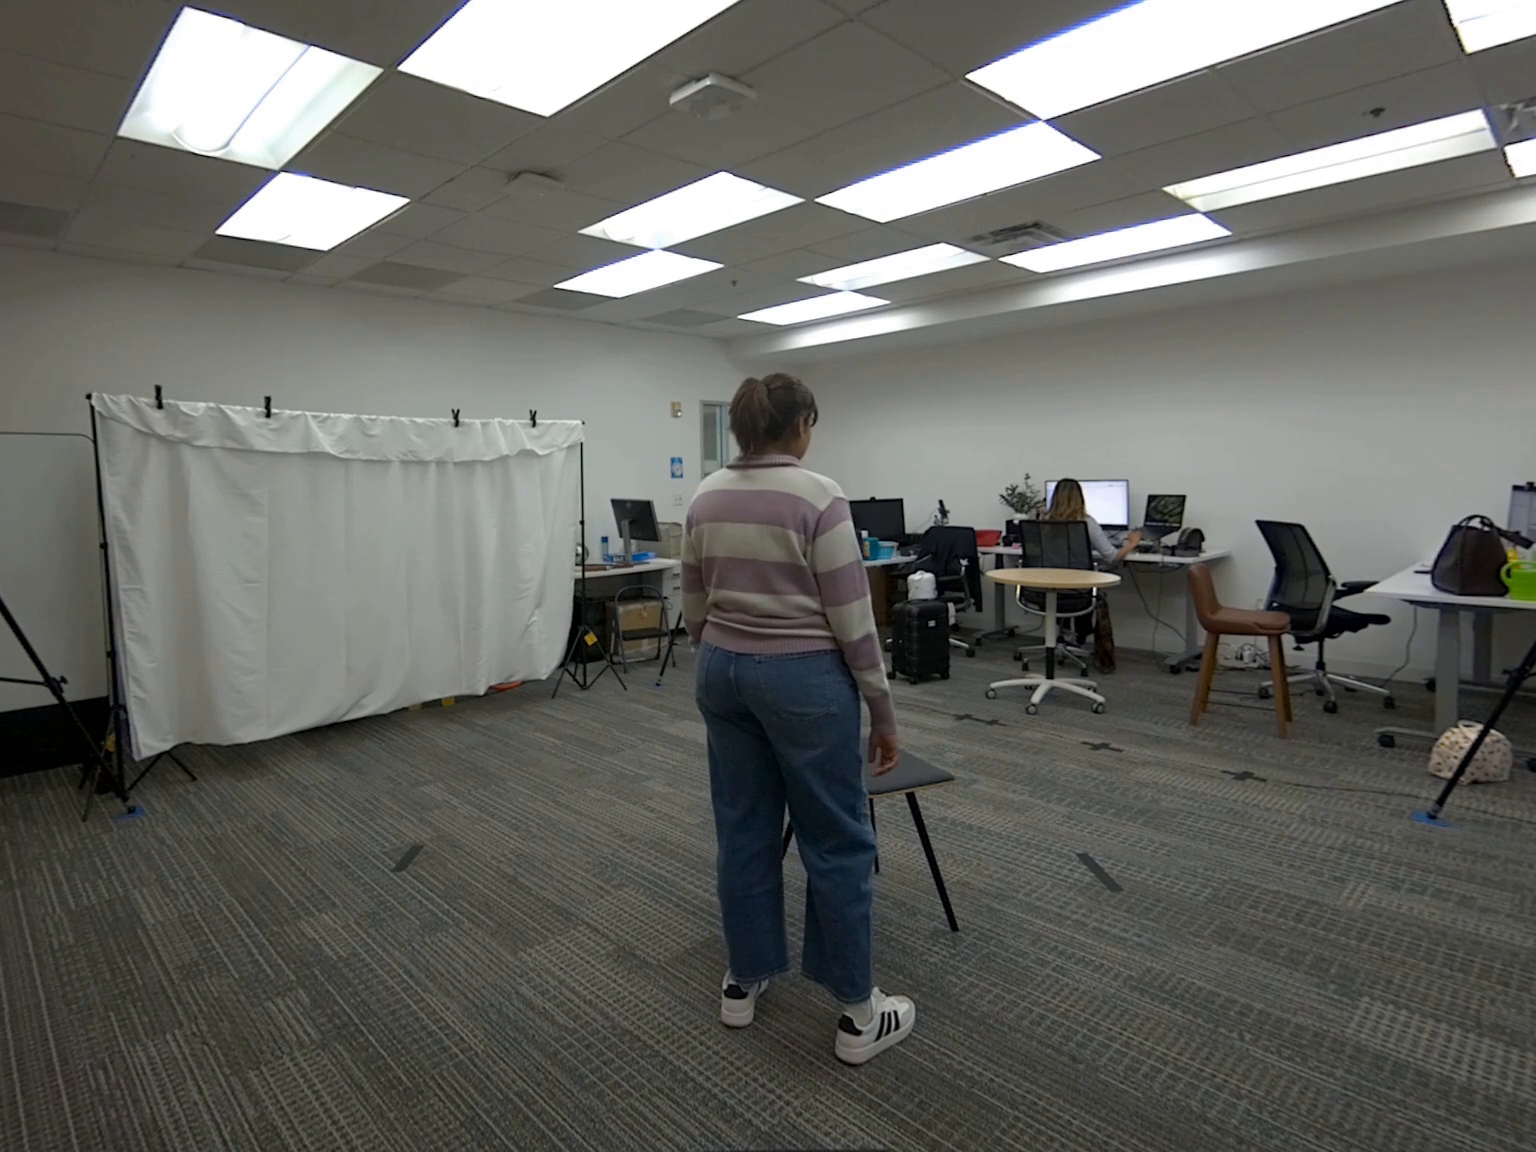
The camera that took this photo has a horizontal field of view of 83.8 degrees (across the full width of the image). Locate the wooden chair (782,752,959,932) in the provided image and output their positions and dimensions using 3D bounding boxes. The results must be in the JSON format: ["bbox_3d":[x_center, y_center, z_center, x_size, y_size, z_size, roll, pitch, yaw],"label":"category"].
[{"bbox_3d":[0.290,0.662,2.711,0.513,0.873,0.490,-7,6,-24],"label":"wooden chair"}]
